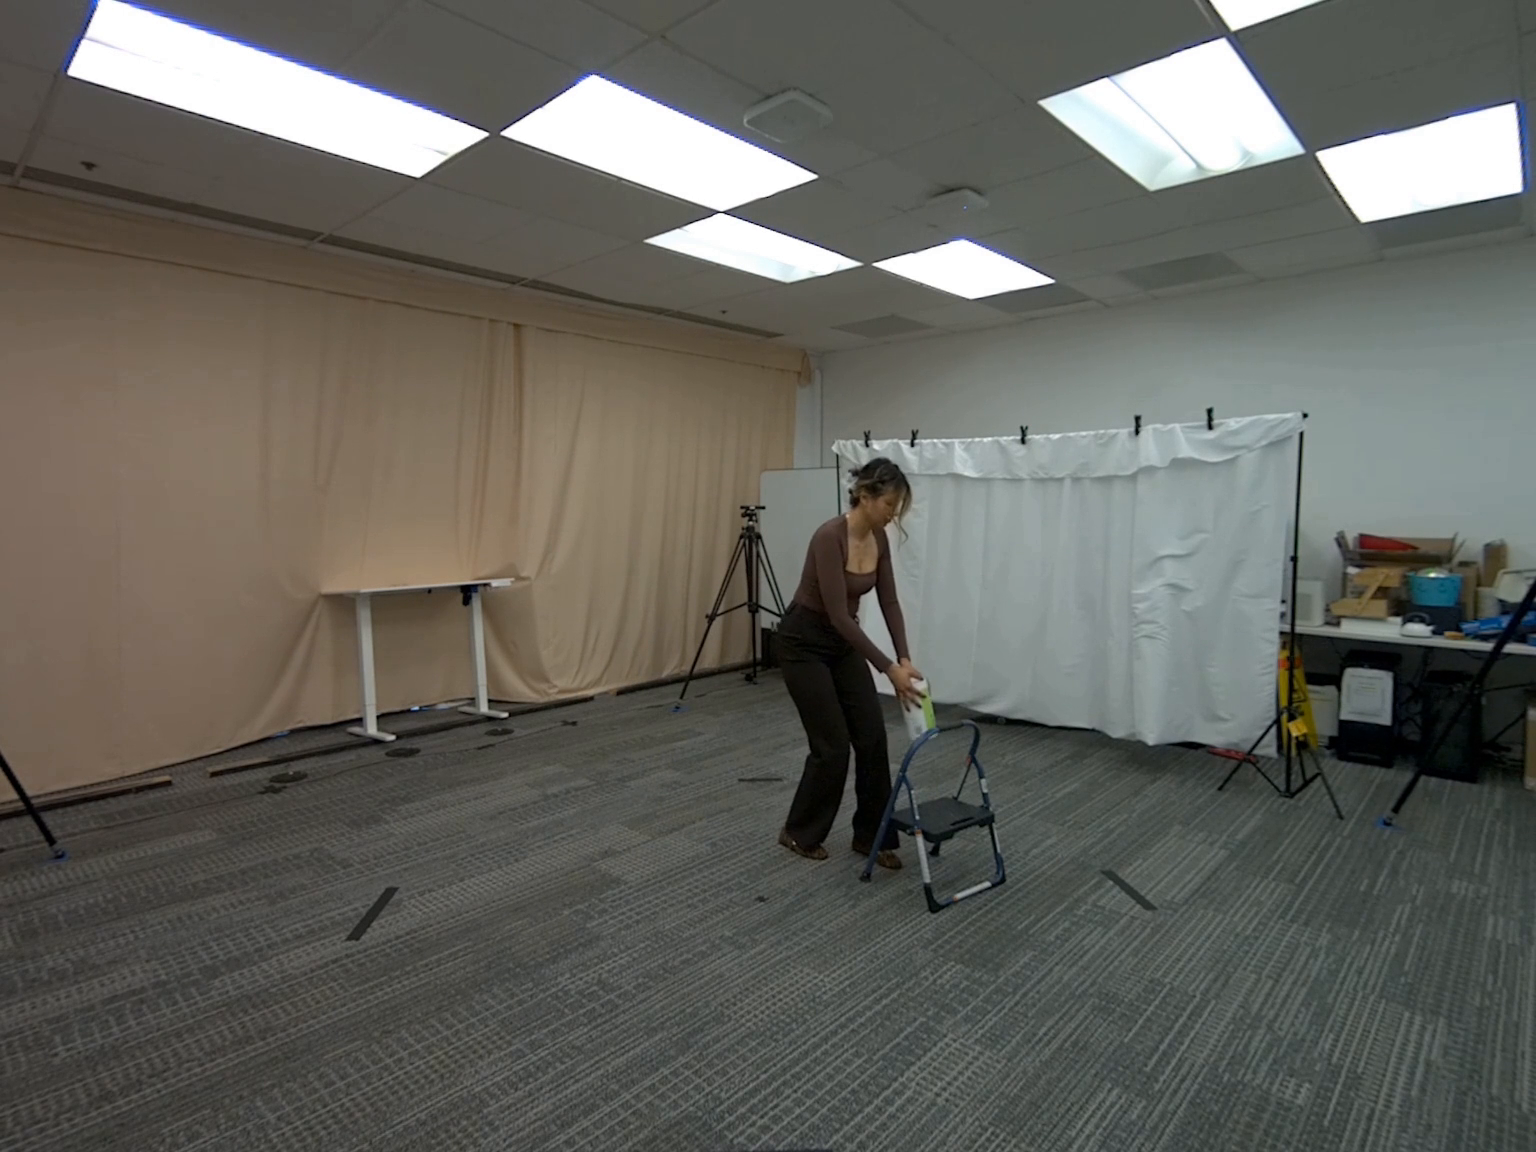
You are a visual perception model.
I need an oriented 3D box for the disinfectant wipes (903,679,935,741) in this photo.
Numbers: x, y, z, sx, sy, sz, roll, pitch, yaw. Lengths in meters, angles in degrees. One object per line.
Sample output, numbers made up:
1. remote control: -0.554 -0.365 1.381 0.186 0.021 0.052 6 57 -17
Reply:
1. disinfectant wipes: 0.564 0.498 3.117 0.117 0.218 0.118 -13 -2 -2
